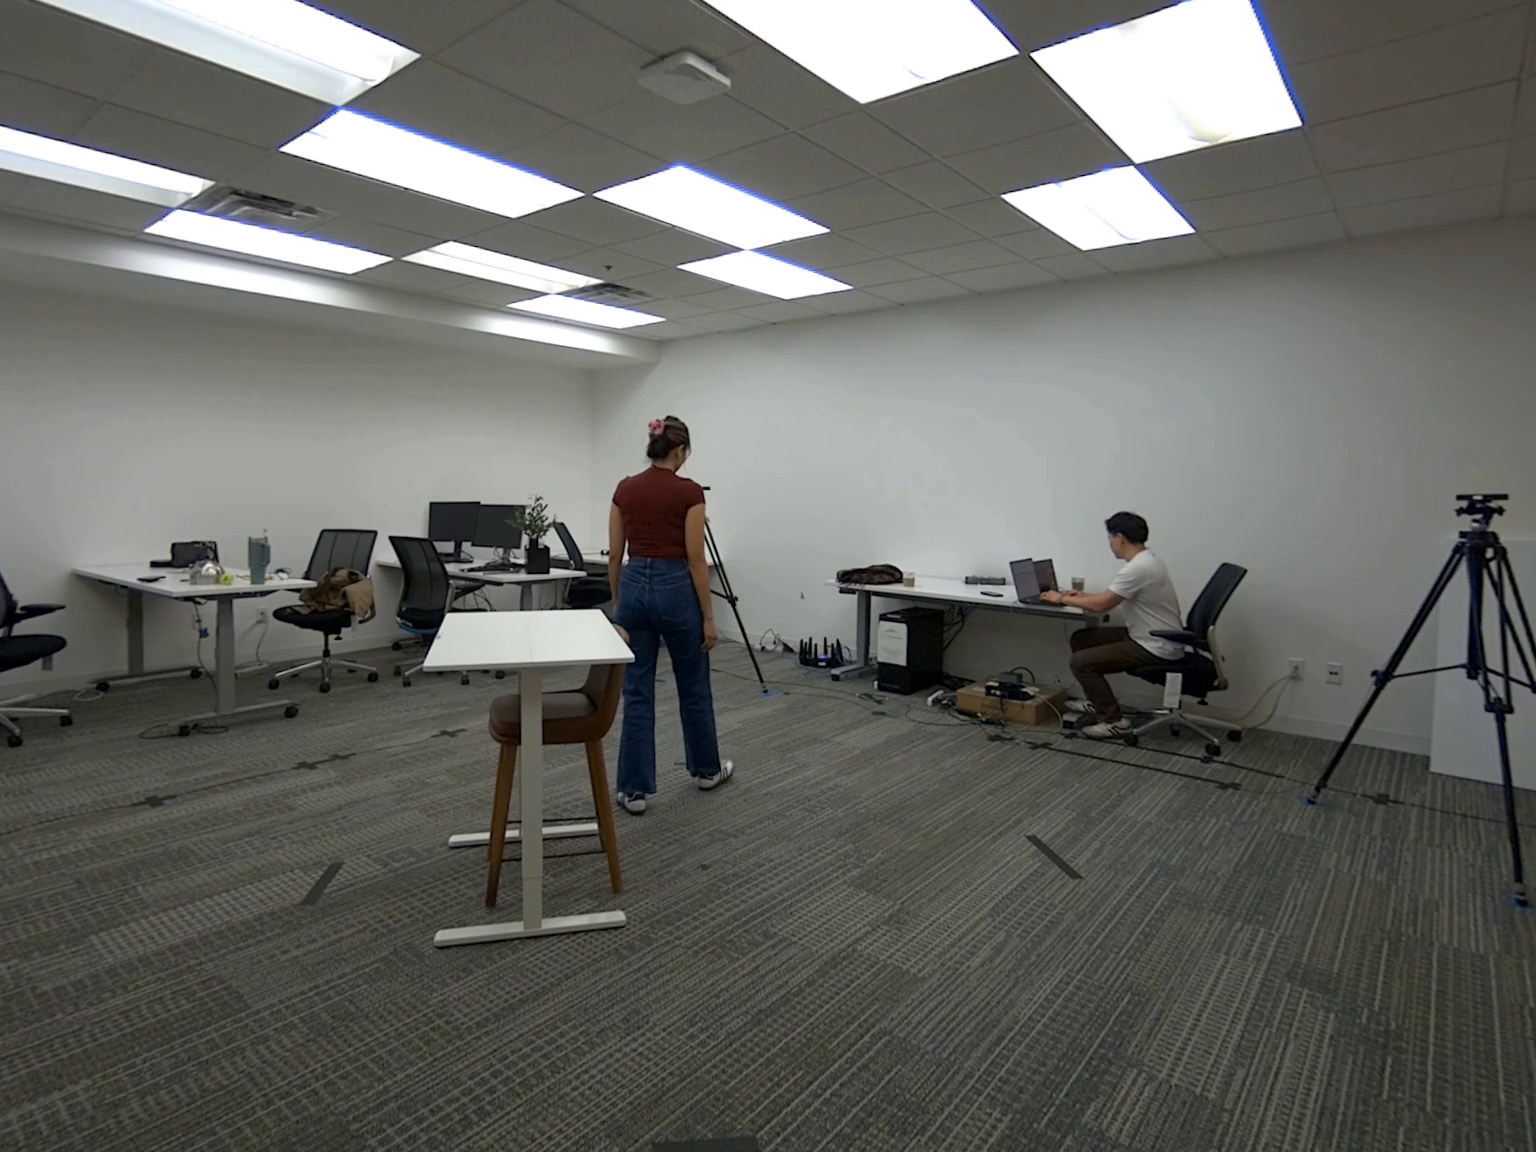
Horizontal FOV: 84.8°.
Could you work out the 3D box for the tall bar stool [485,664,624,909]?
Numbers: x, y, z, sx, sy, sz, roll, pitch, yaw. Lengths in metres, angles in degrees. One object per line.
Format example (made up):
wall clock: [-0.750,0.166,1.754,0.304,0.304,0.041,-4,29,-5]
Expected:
tall bar stool: [-0.770,0.649,3.020,0.461,0.890,0.463,0,0,-15]
